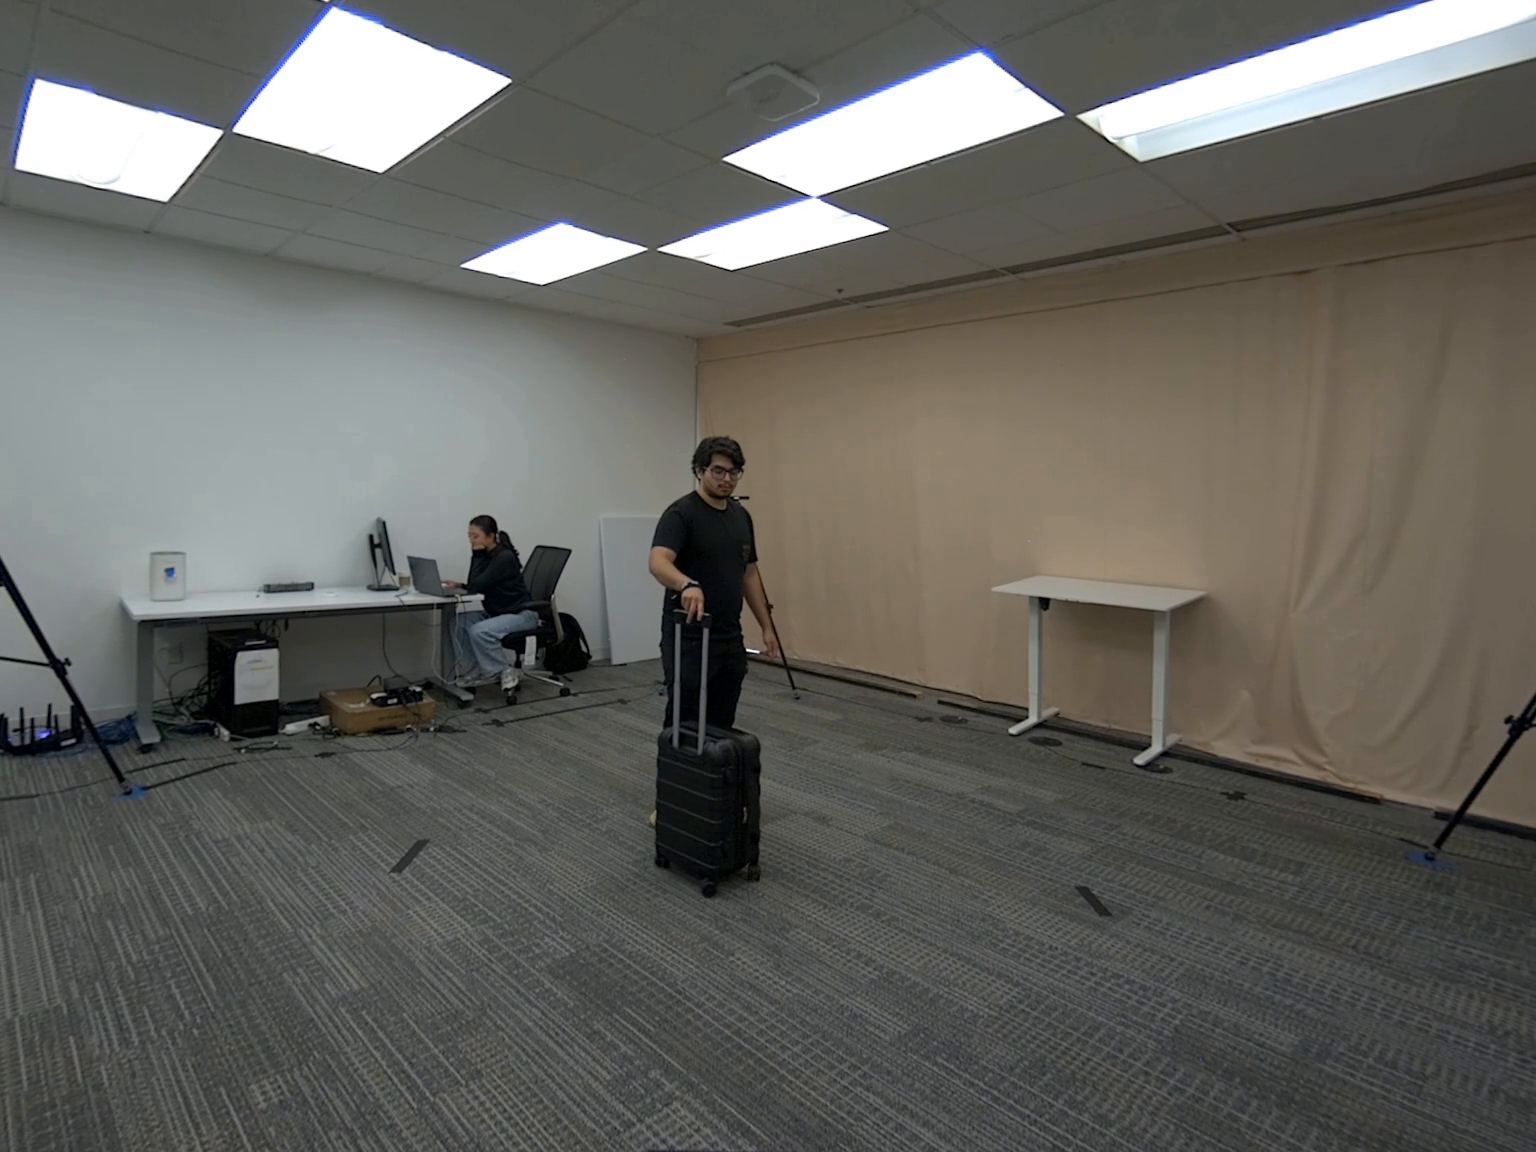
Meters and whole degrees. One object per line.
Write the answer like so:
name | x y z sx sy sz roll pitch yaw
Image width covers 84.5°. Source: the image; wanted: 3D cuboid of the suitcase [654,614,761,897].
suitcase | -0.221 0.627 3.096 0.251 0.977 0.394 0 4 -44
